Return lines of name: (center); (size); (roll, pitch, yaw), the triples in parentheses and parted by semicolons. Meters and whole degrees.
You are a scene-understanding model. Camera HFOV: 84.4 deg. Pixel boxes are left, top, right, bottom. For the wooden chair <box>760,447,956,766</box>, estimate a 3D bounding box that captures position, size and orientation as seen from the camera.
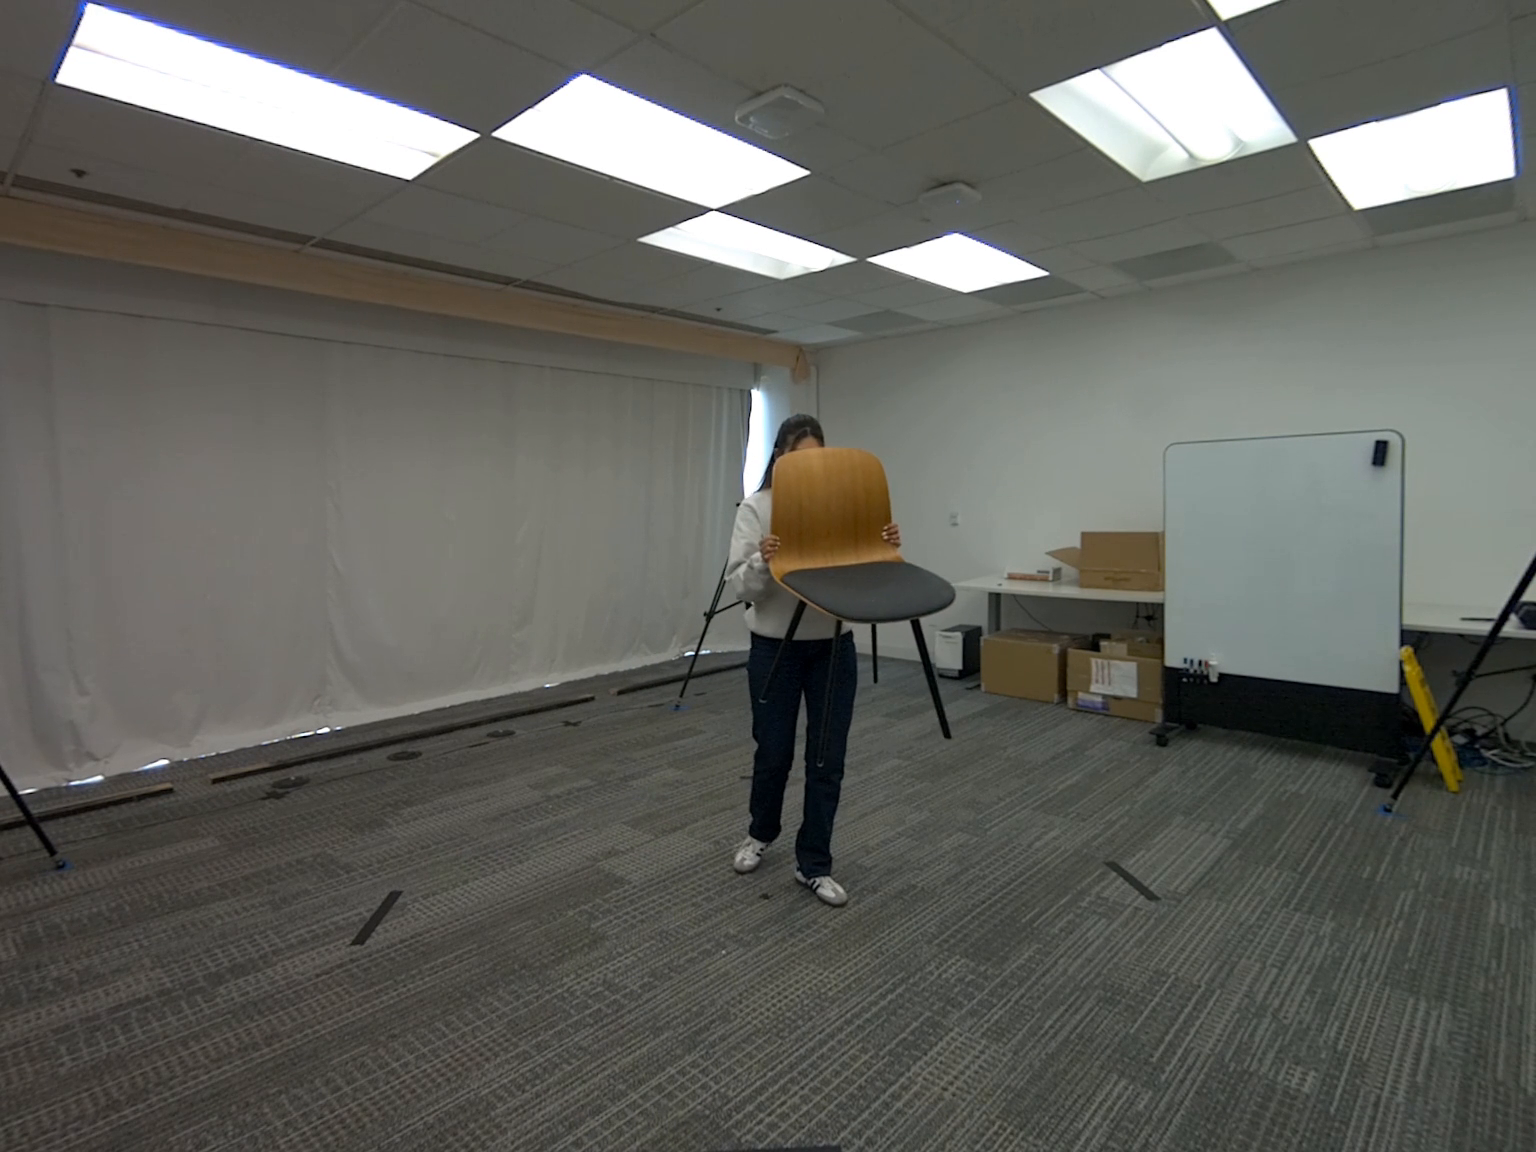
wooden chair: (0.286, 0.064, 2.609); (0.469, 0.871, 0.537); (-5, 13, -21)
